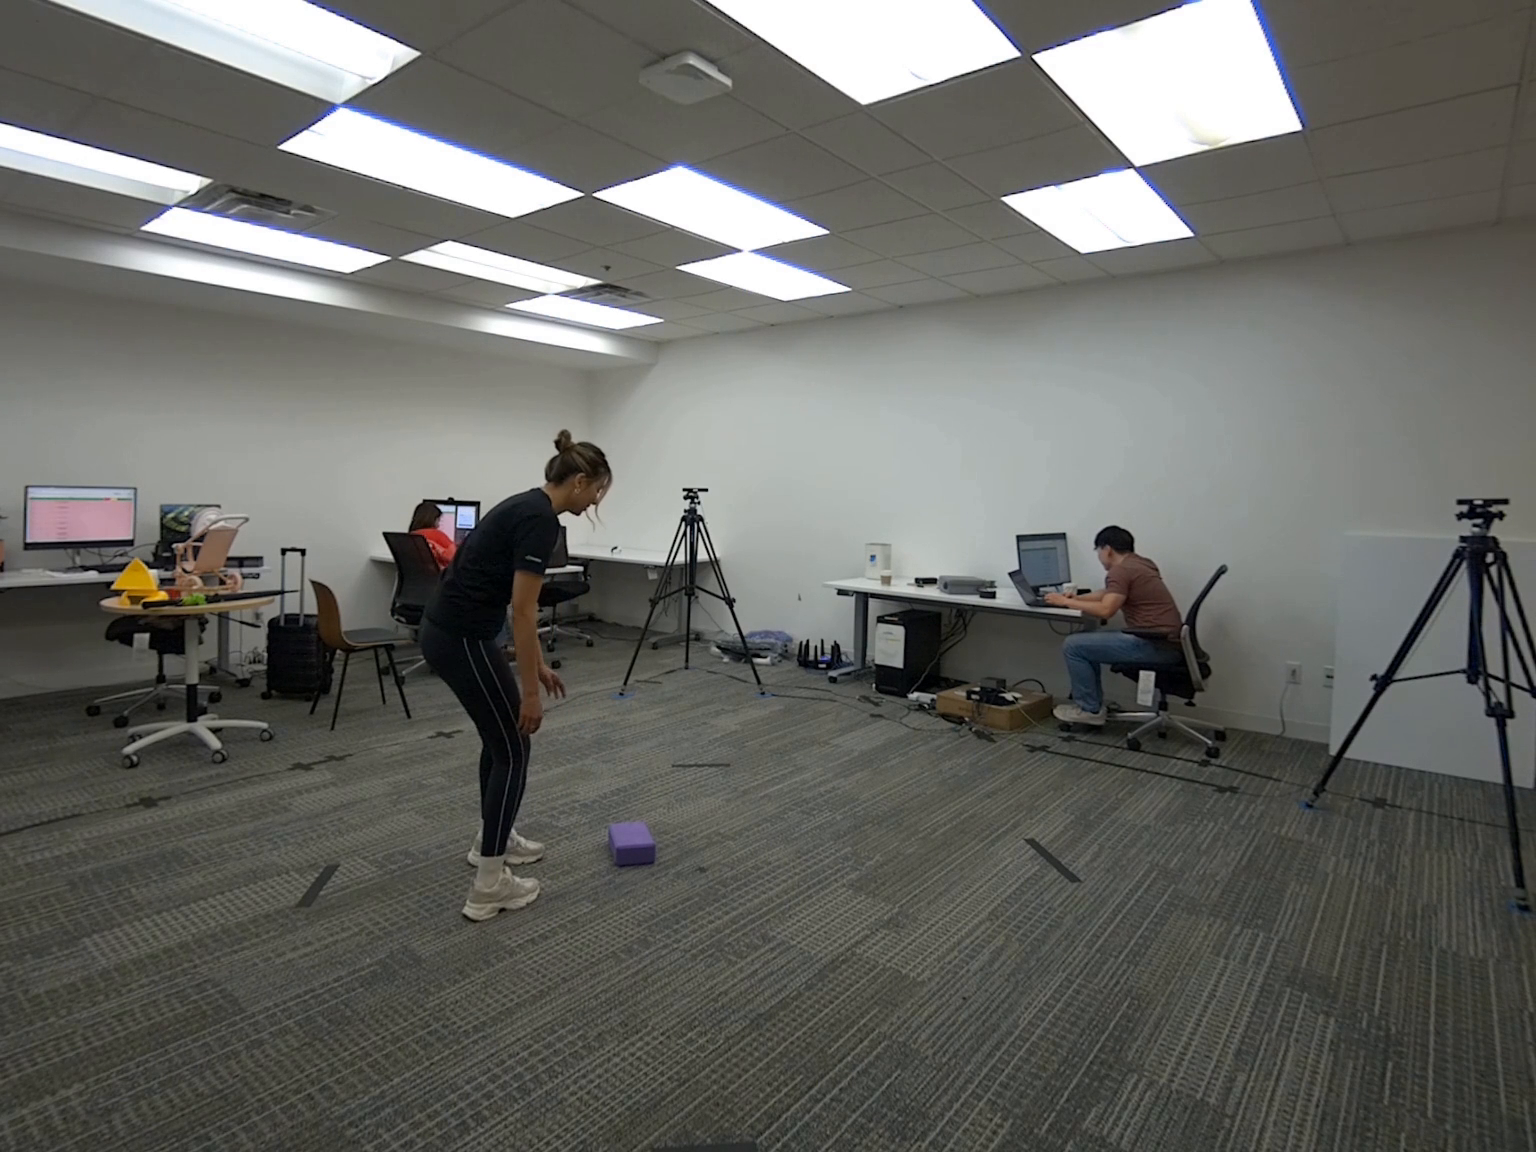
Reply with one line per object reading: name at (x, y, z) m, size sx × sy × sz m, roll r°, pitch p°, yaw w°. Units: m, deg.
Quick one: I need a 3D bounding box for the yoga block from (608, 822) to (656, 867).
yoga block at (-0.529, 1.012, 3.233) m, size 0.146 × 0.076 × 0.234 m, roll 0°, pitch 5°, yaw -17°
